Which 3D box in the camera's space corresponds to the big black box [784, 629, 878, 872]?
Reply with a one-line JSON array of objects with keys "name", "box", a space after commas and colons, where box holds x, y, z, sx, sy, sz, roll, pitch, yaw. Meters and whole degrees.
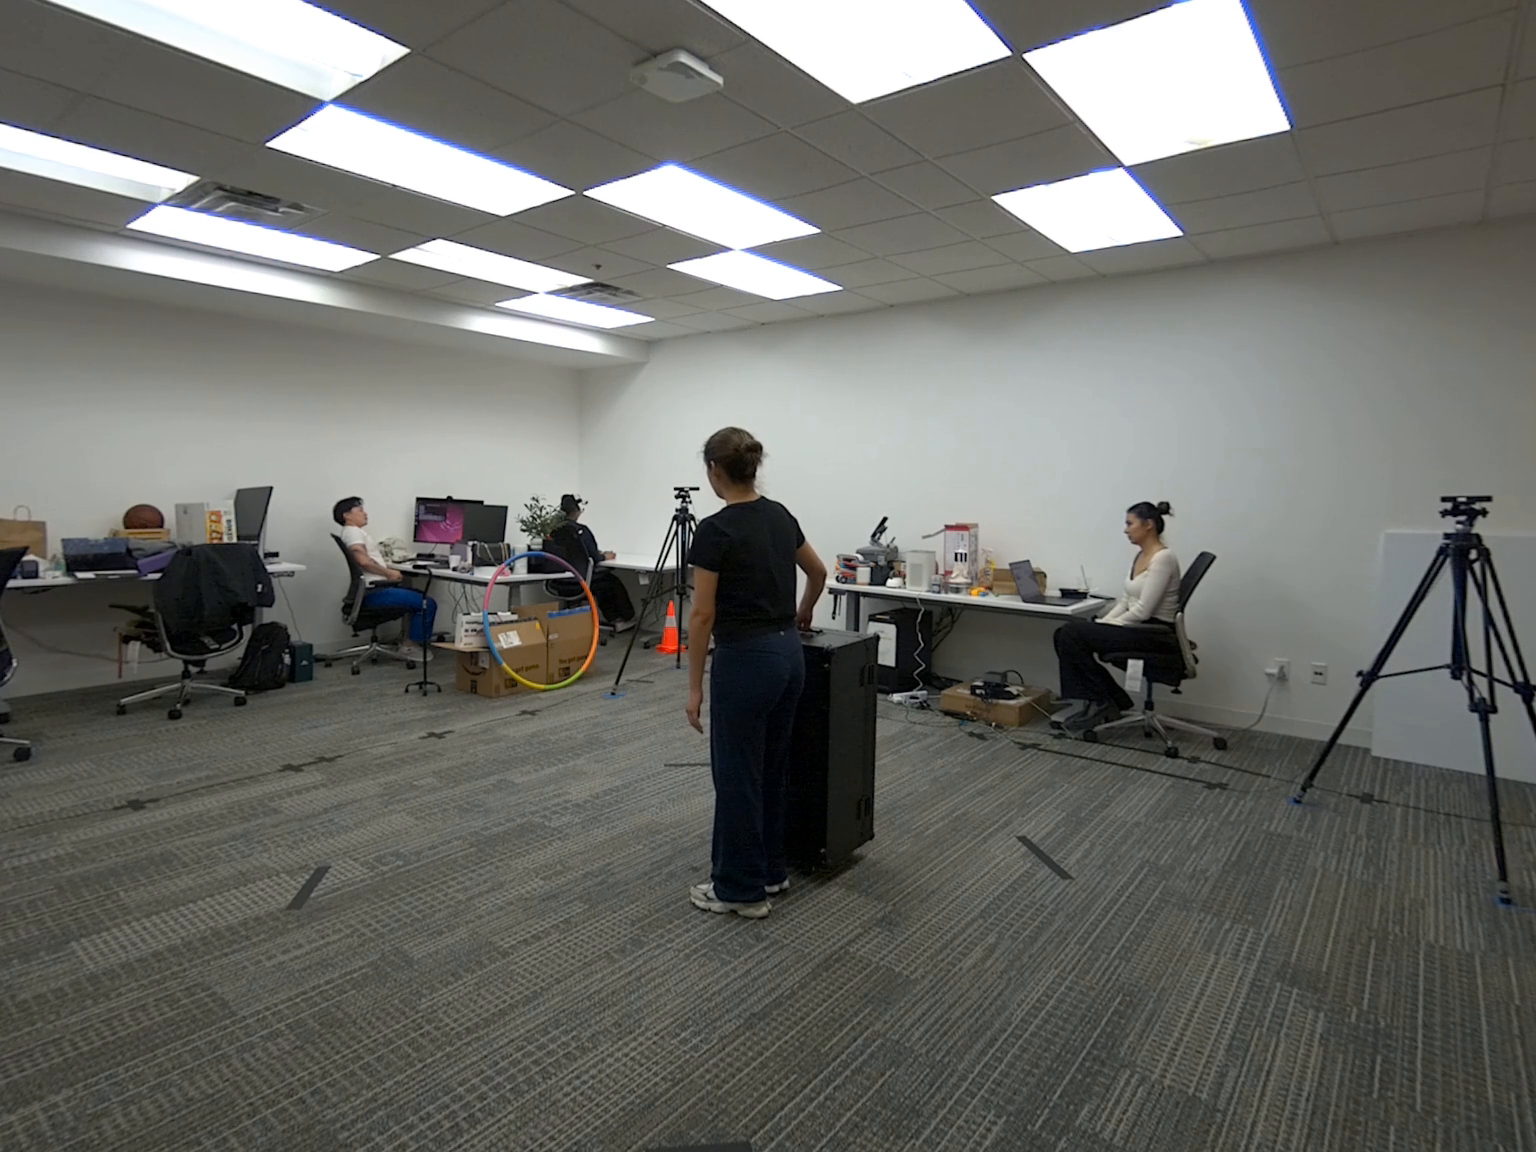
[{"name": "big black box", "box": [0.132, 0.636, 3.222, 0.538, 0.858, 0.385, 4, 5, 37]}]
